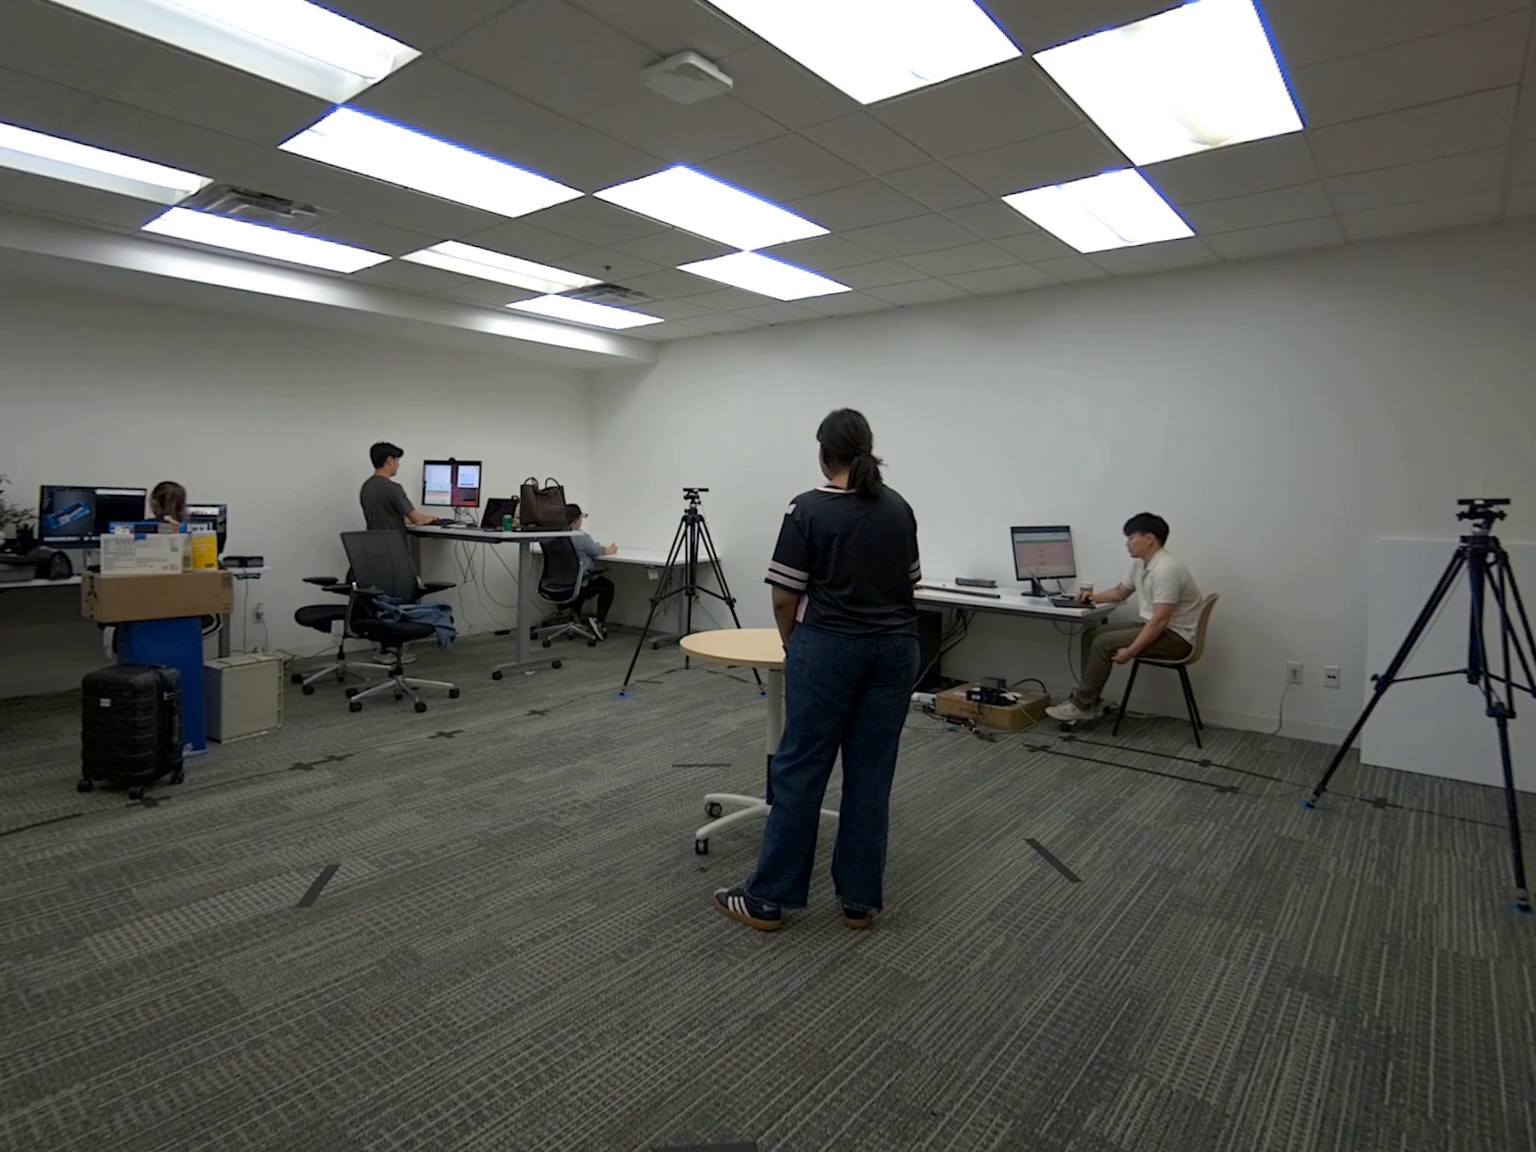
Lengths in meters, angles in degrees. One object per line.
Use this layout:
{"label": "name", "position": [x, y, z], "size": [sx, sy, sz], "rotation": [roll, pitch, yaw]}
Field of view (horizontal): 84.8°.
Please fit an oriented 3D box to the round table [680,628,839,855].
{"label": "round table", "position": [0.010, 0.657, 3.388], "size": [0.763, 0.792, 0.767], "rotation": [1, 3, -2]}
